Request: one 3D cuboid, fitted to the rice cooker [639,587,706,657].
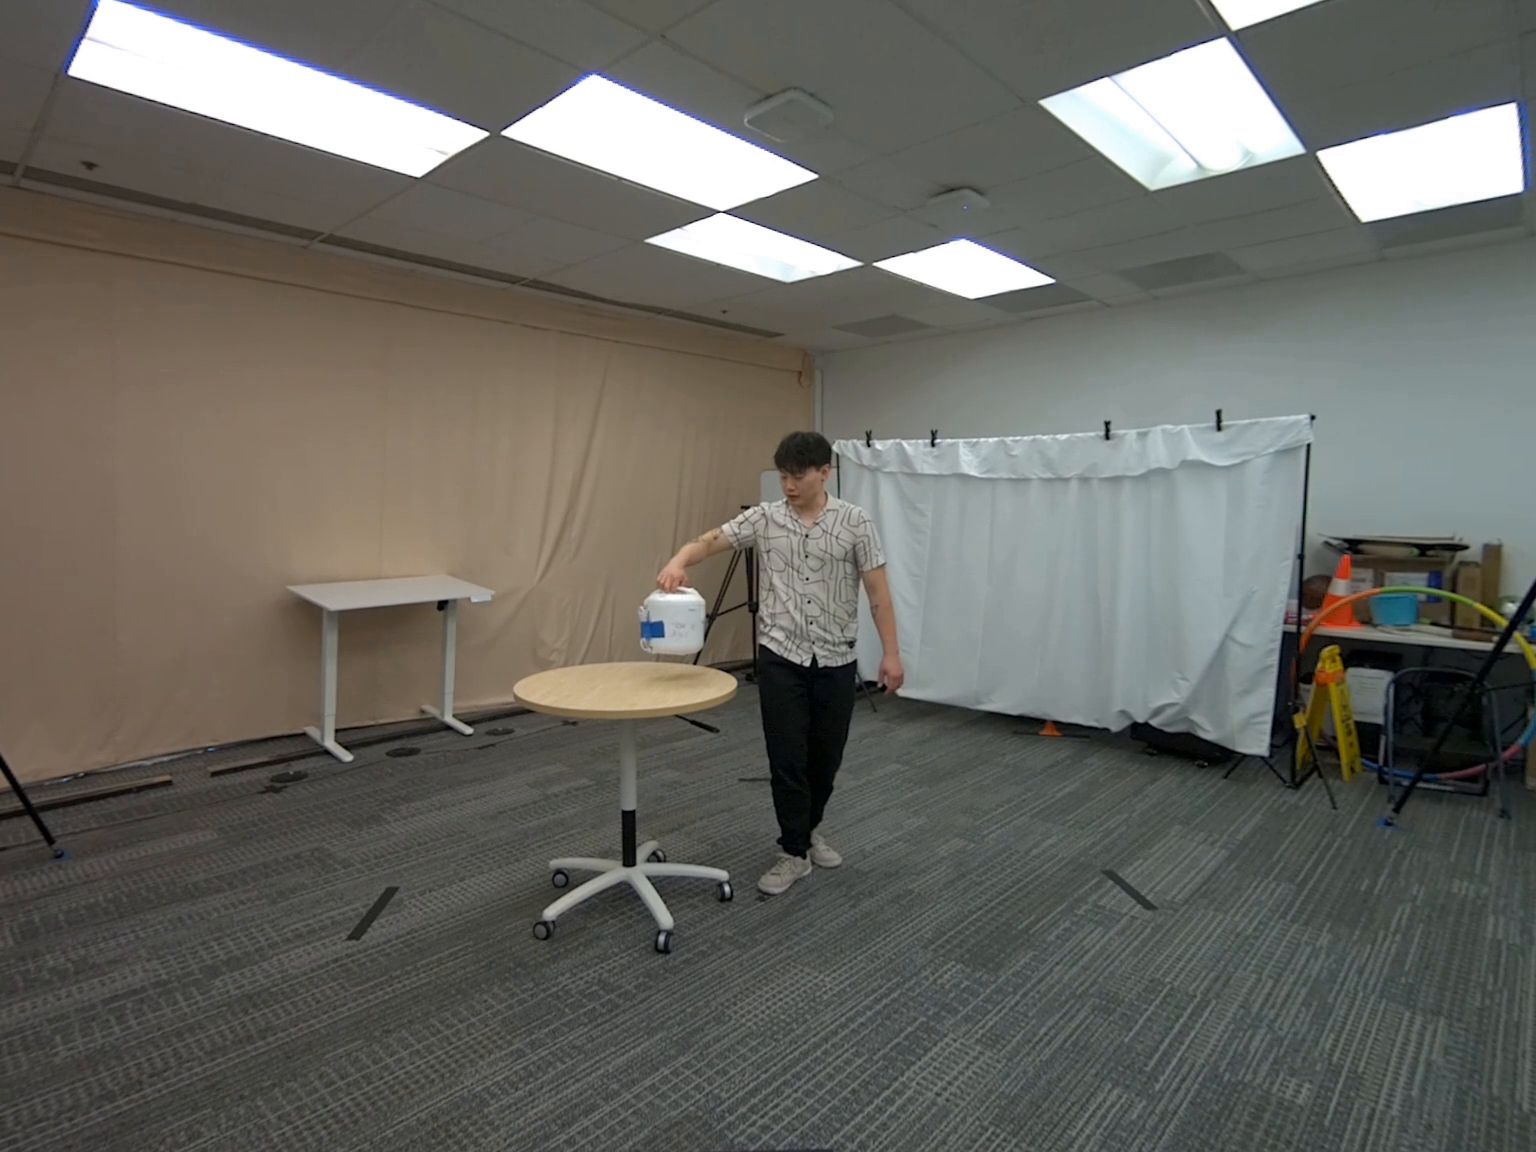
[{"bbox_3d":[-0.328,0.153,2.959,0.224,0.232,0.214,1,2,12],"label":"rice cooker"}]
